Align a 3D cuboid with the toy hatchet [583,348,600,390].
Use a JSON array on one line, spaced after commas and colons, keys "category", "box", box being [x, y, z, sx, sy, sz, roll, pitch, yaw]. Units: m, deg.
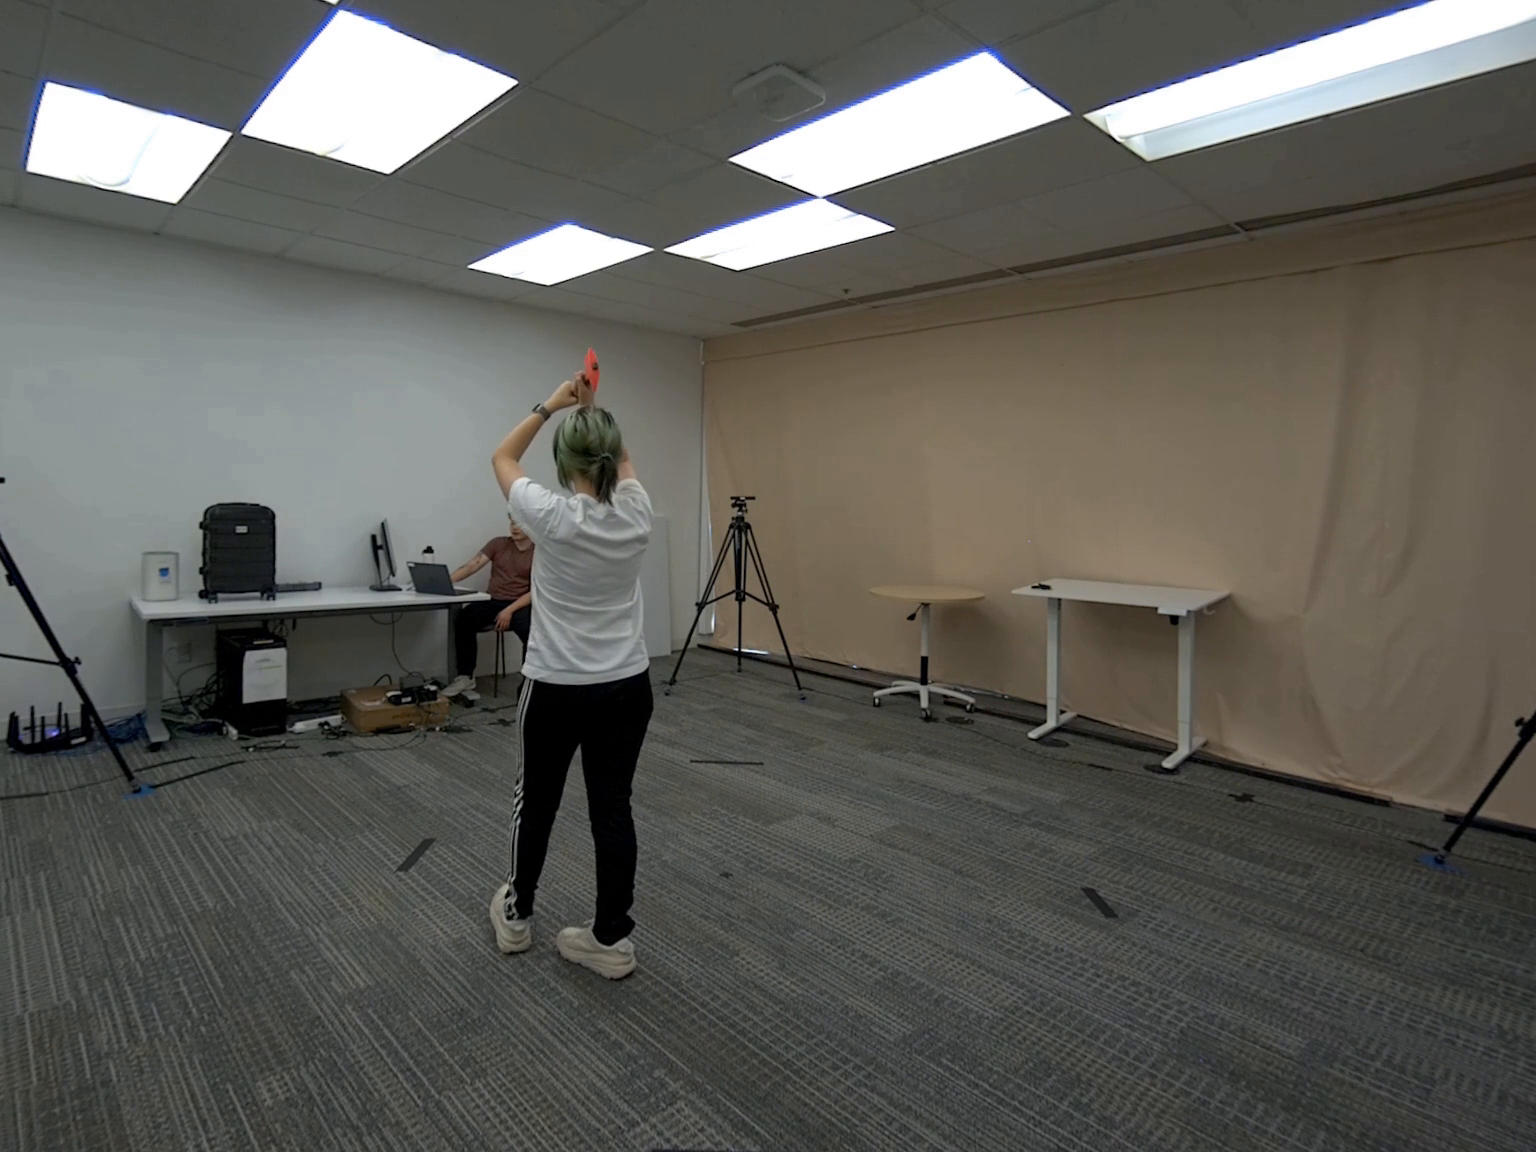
[{"category": "toy hatchet", "box": [-0.565, -0.603, 2.500, 0.029, 0.130, 0.276, -3, 7, -29]}]
